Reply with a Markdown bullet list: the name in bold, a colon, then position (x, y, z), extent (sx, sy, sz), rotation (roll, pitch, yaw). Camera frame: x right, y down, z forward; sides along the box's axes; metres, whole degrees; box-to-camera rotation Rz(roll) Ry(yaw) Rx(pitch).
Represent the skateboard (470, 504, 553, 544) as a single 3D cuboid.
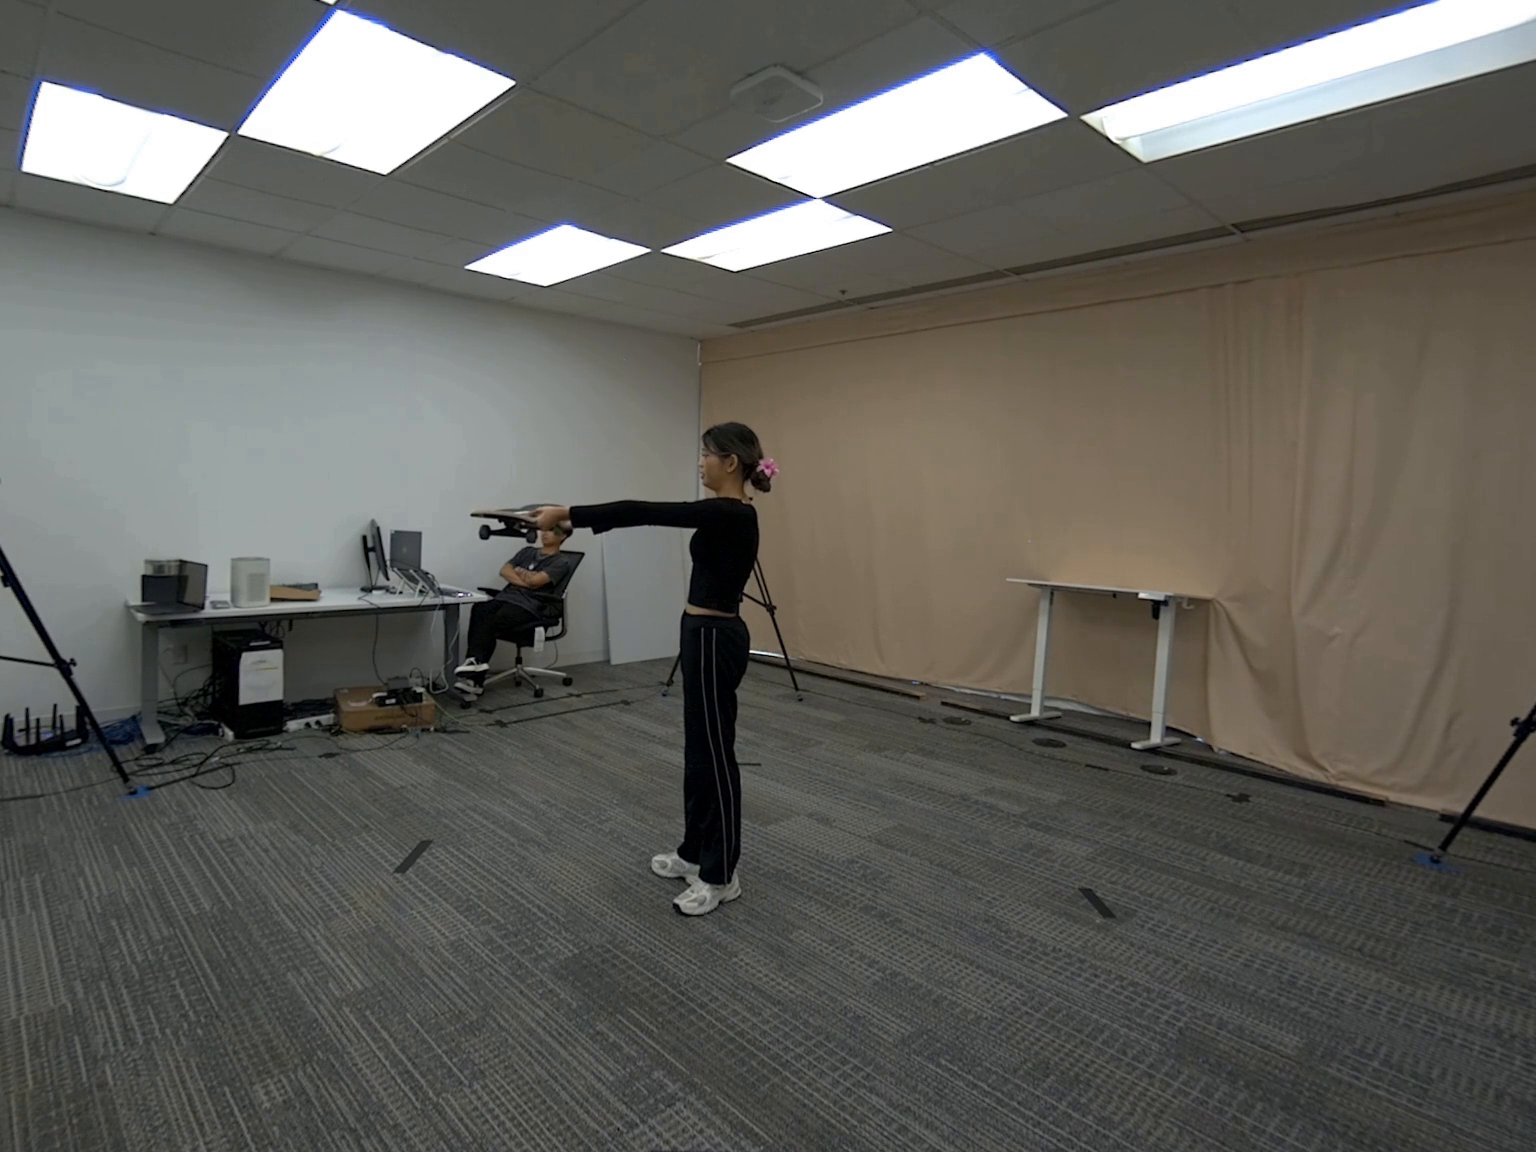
- **skateboard**: position (-0.852, -0.188, 2.924), extent (0.192, 0.110, 0.792), rotation (1, 7, -6)
